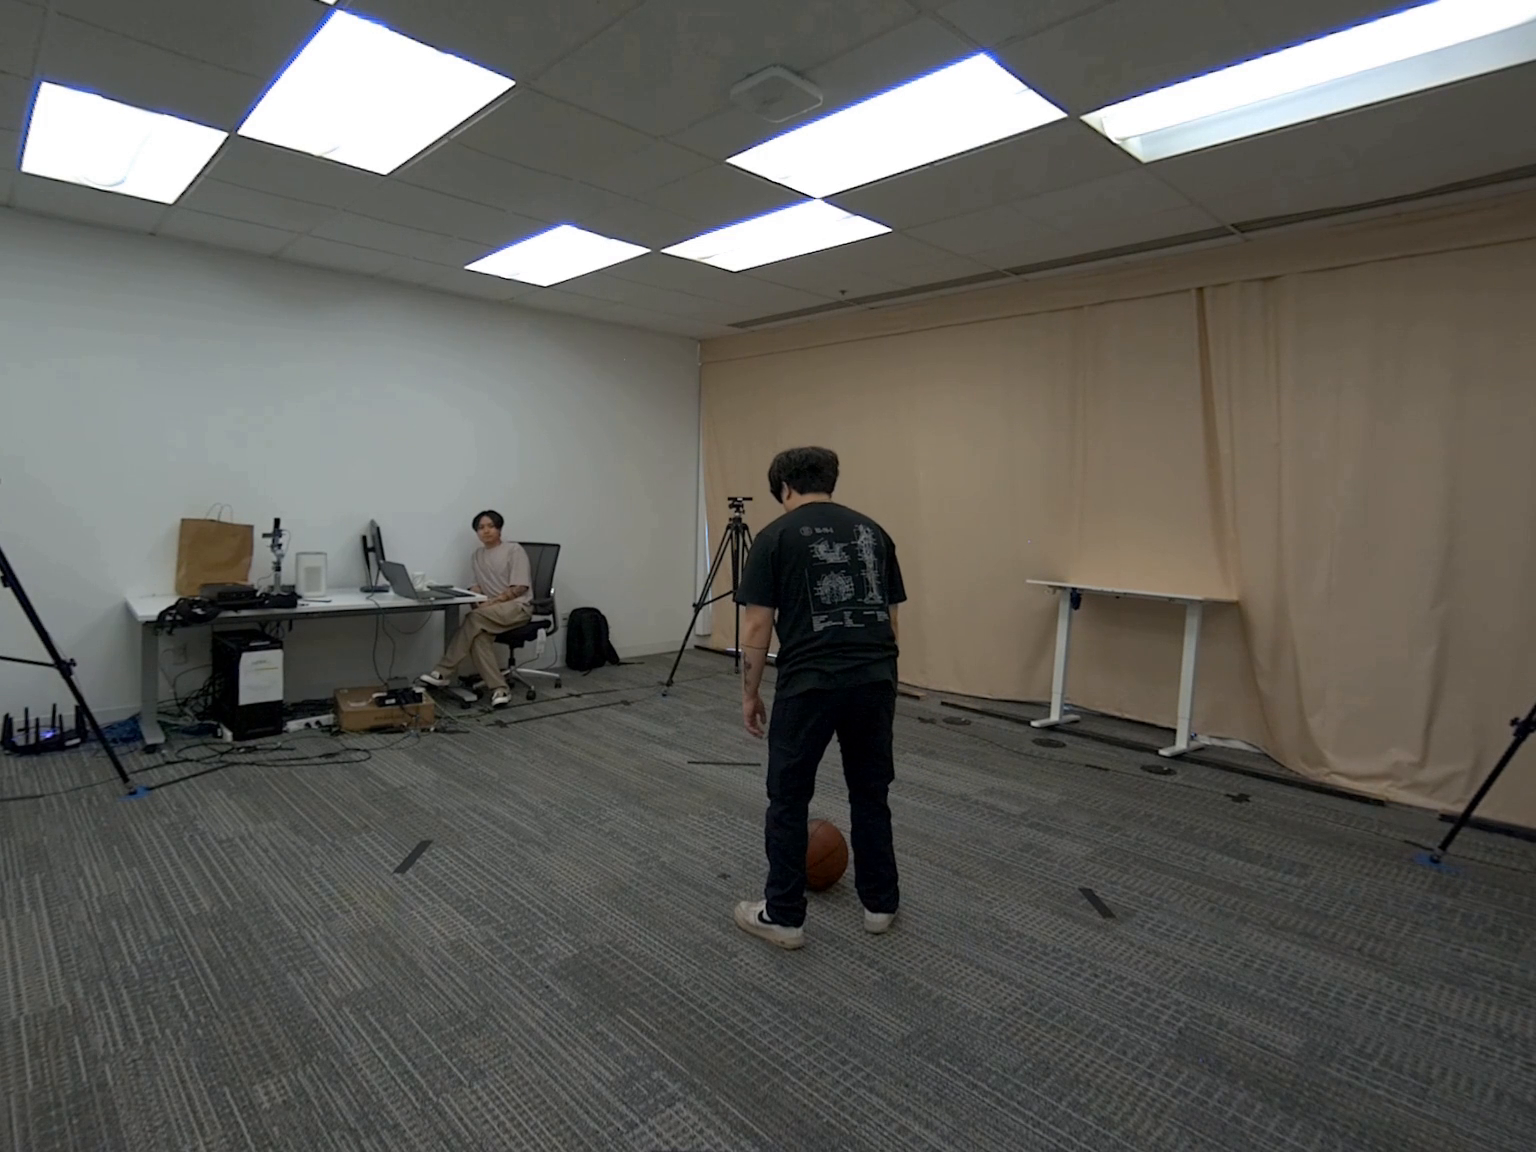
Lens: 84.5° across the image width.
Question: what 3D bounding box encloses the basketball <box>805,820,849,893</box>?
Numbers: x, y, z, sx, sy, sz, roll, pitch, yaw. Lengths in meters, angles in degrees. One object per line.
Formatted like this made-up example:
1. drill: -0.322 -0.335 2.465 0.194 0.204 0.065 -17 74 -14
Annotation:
1. basketball: 0.161 1.000 3.032 0.236 0.235 0.237 1 4 -1
